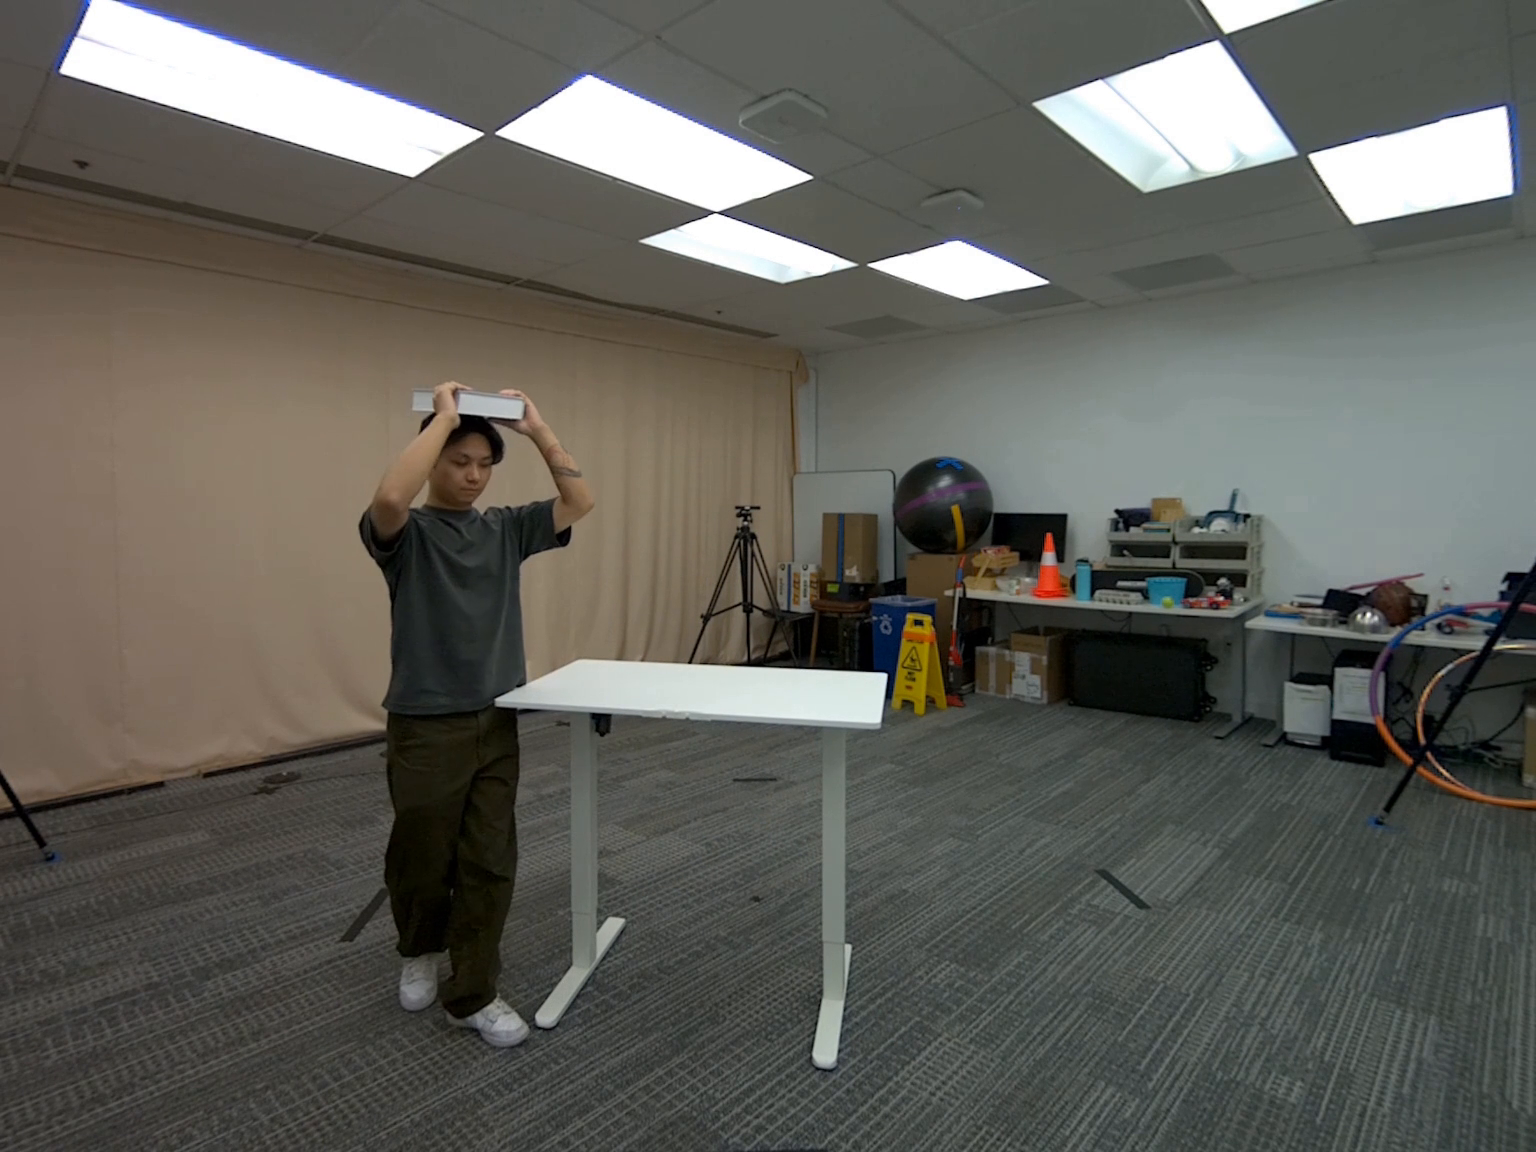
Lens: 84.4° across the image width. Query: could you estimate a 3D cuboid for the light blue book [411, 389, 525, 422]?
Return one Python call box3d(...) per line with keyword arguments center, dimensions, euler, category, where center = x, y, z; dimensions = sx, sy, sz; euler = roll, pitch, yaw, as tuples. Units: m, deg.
box3d(center=(-0.802, -0.453, 2.208), dimensions=(0.185, 0.059, 0.270), euler=(-2, 11, -45), category="light blue book")
